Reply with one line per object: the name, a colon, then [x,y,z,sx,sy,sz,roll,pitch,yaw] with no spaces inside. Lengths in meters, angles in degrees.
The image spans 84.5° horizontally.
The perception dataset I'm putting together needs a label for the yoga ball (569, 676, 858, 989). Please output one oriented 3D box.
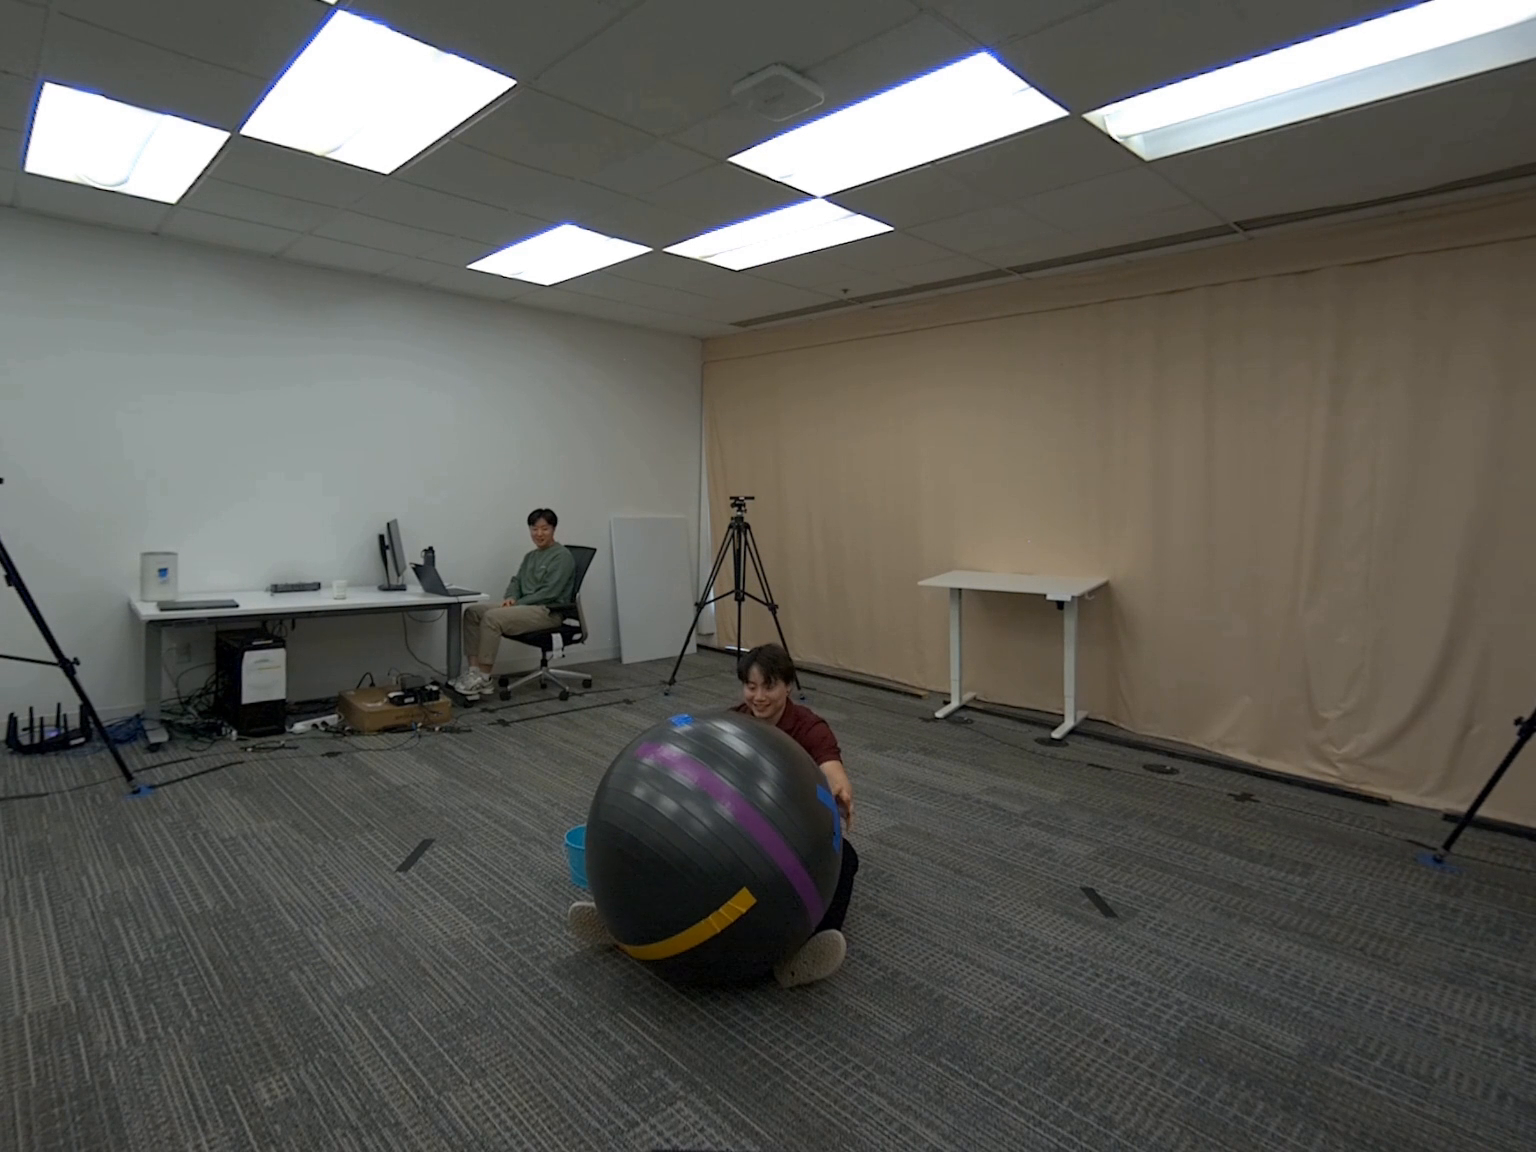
yoga ball: [-0.166,0.788,2.485,0.757,0.756,0.761,1,4,-1]
